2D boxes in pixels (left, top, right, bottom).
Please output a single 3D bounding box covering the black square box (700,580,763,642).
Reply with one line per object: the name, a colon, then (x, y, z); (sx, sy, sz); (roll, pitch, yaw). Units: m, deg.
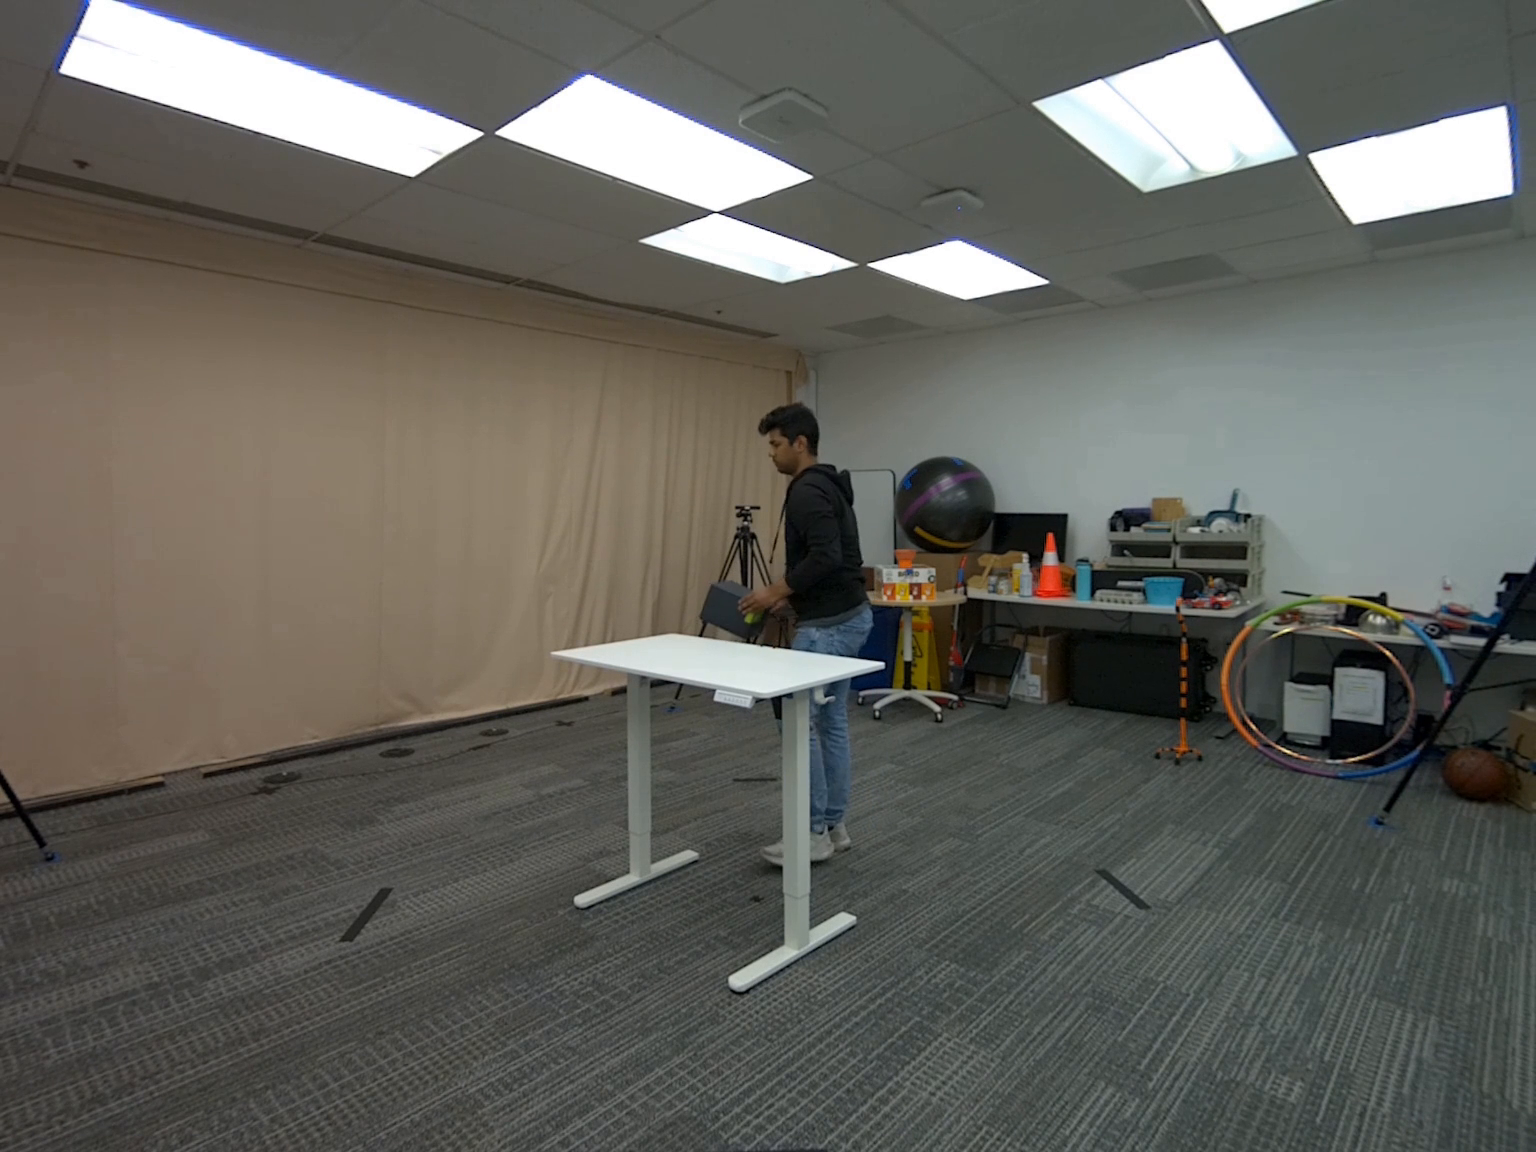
black square box: (-0.127, 0.140, 3.486); (0.221, 0.155, 0.224); (23, 11, 14)
